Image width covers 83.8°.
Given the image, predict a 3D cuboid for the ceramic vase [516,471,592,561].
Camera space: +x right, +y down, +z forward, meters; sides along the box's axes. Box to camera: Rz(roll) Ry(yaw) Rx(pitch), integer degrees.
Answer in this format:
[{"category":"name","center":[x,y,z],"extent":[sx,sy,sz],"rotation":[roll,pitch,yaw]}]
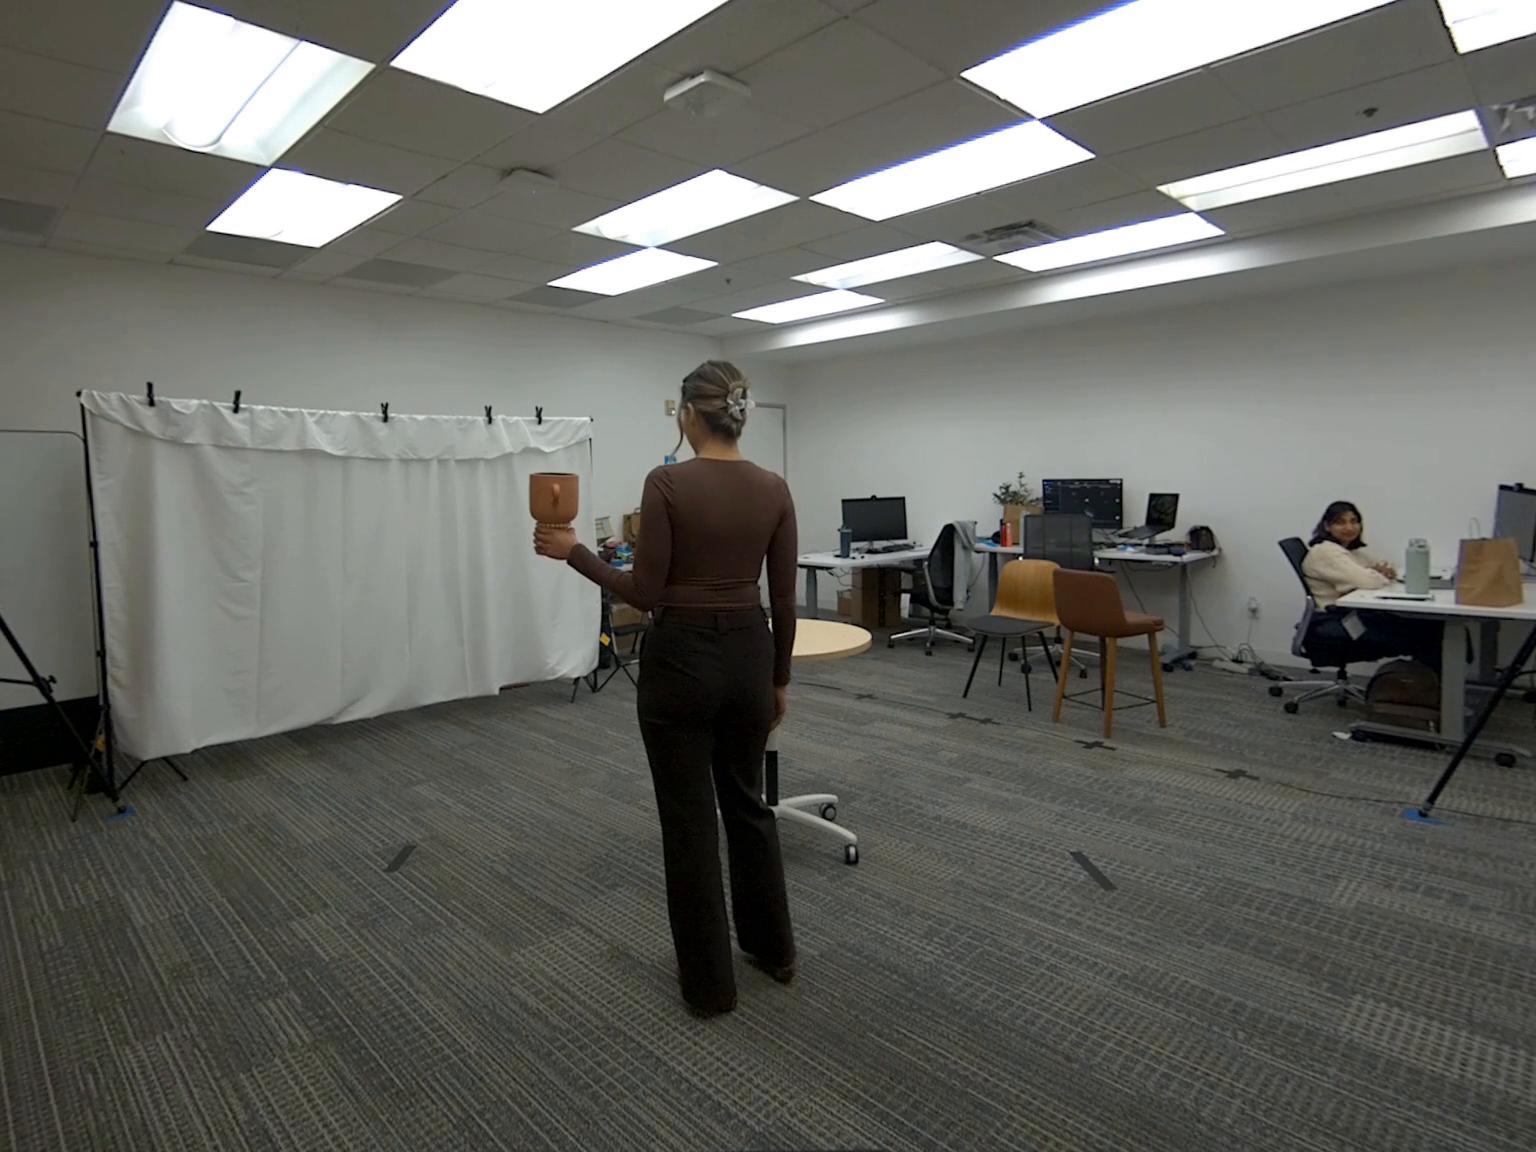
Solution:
[{"category":"ceramic vase","center":[-0.583,-0.170,2.335],"extent":[0.137,0.218,0.157],"rotation":[5,9,16]}]
